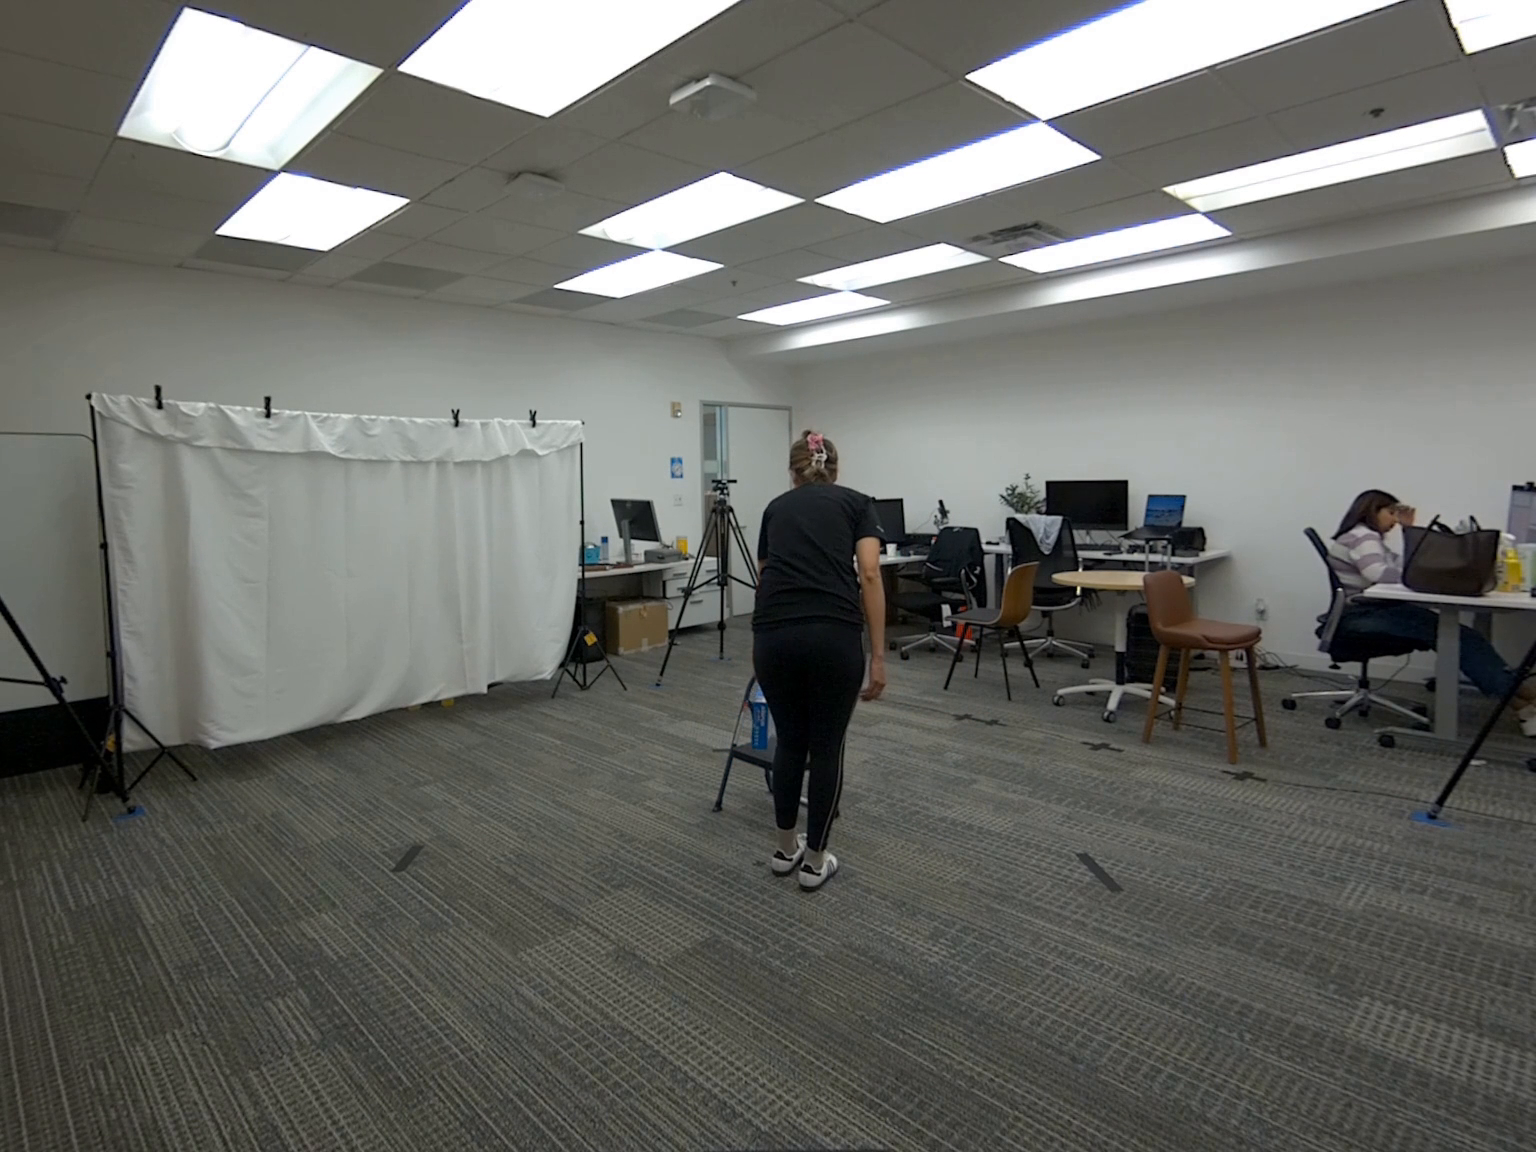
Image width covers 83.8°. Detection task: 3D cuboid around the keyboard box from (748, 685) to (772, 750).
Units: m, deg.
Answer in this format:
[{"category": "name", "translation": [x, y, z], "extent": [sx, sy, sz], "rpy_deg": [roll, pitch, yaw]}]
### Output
[{"category": "keyboard box", "translation": [-0.022, 0.535, 3.329], "extent": [0.059, 0.175, 0.436], "rpy_deg": [0, 3, 3]}]
